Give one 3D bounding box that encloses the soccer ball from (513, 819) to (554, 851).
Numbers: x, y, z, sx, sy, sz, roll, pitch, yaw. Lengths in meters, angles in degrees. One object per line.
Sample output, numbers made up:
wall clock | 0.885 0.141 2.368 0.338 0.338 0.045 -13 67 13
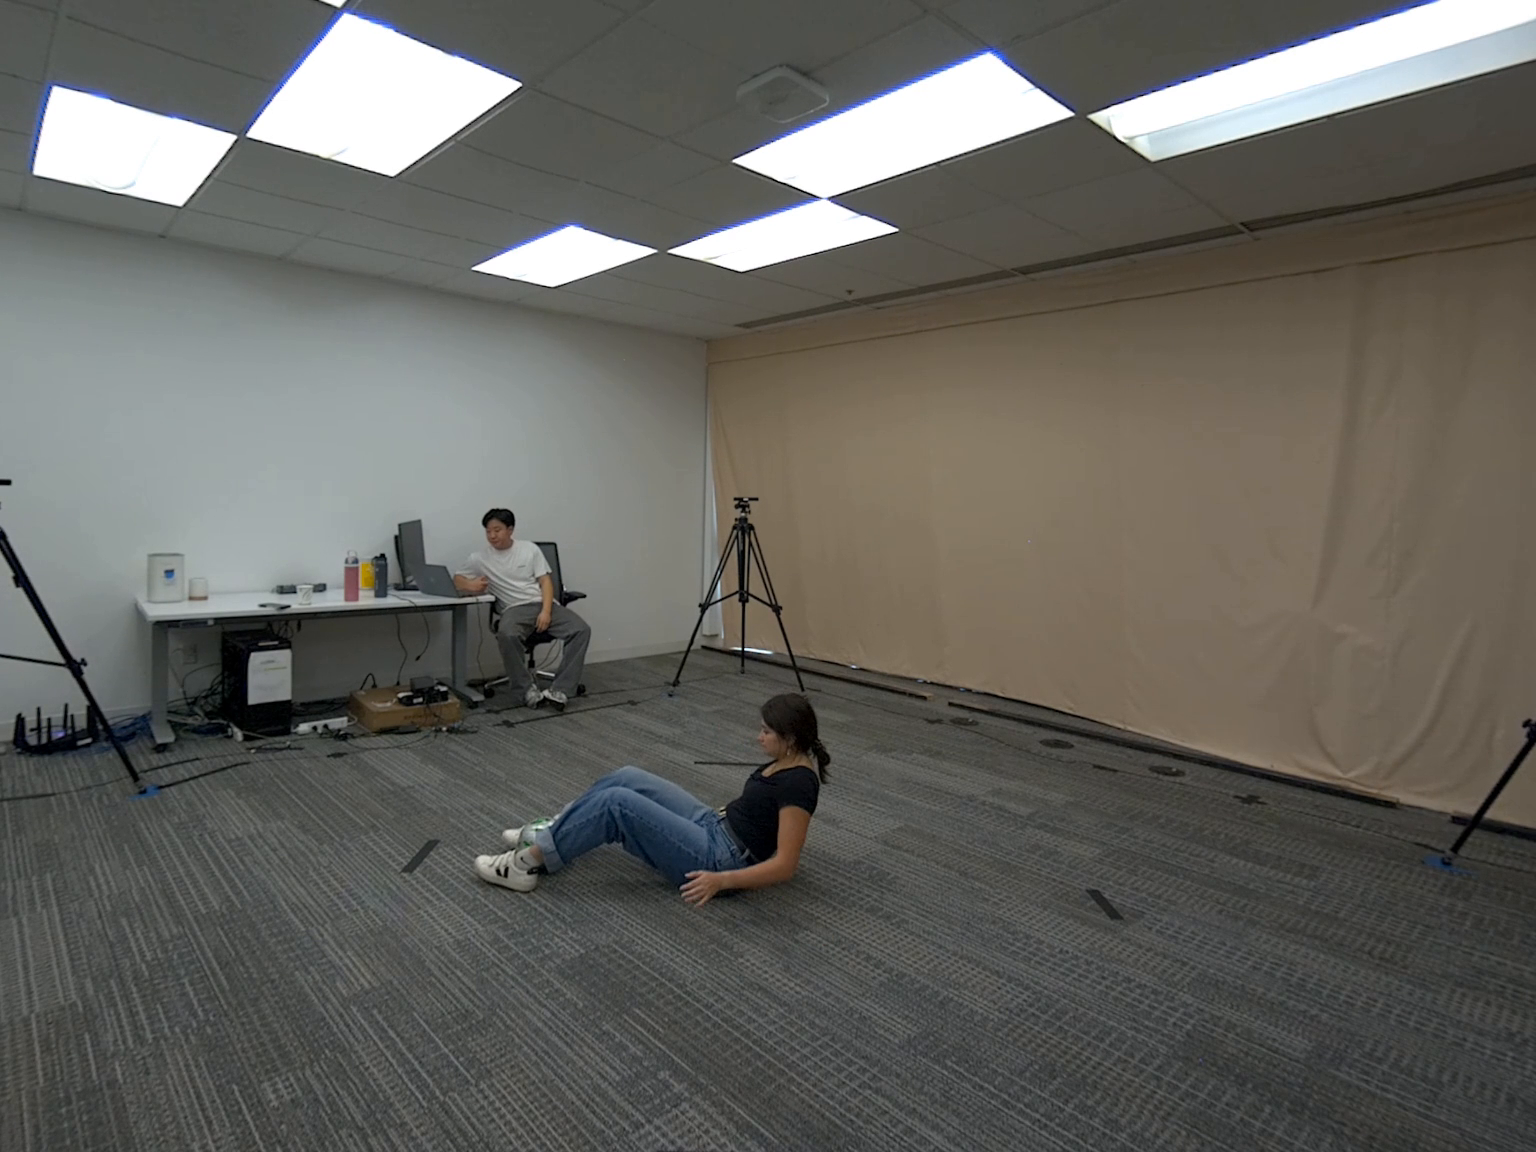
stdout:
soccer ball | -0.837 0.995 3.128 0.187 0.186 0.188 1 7 -1
